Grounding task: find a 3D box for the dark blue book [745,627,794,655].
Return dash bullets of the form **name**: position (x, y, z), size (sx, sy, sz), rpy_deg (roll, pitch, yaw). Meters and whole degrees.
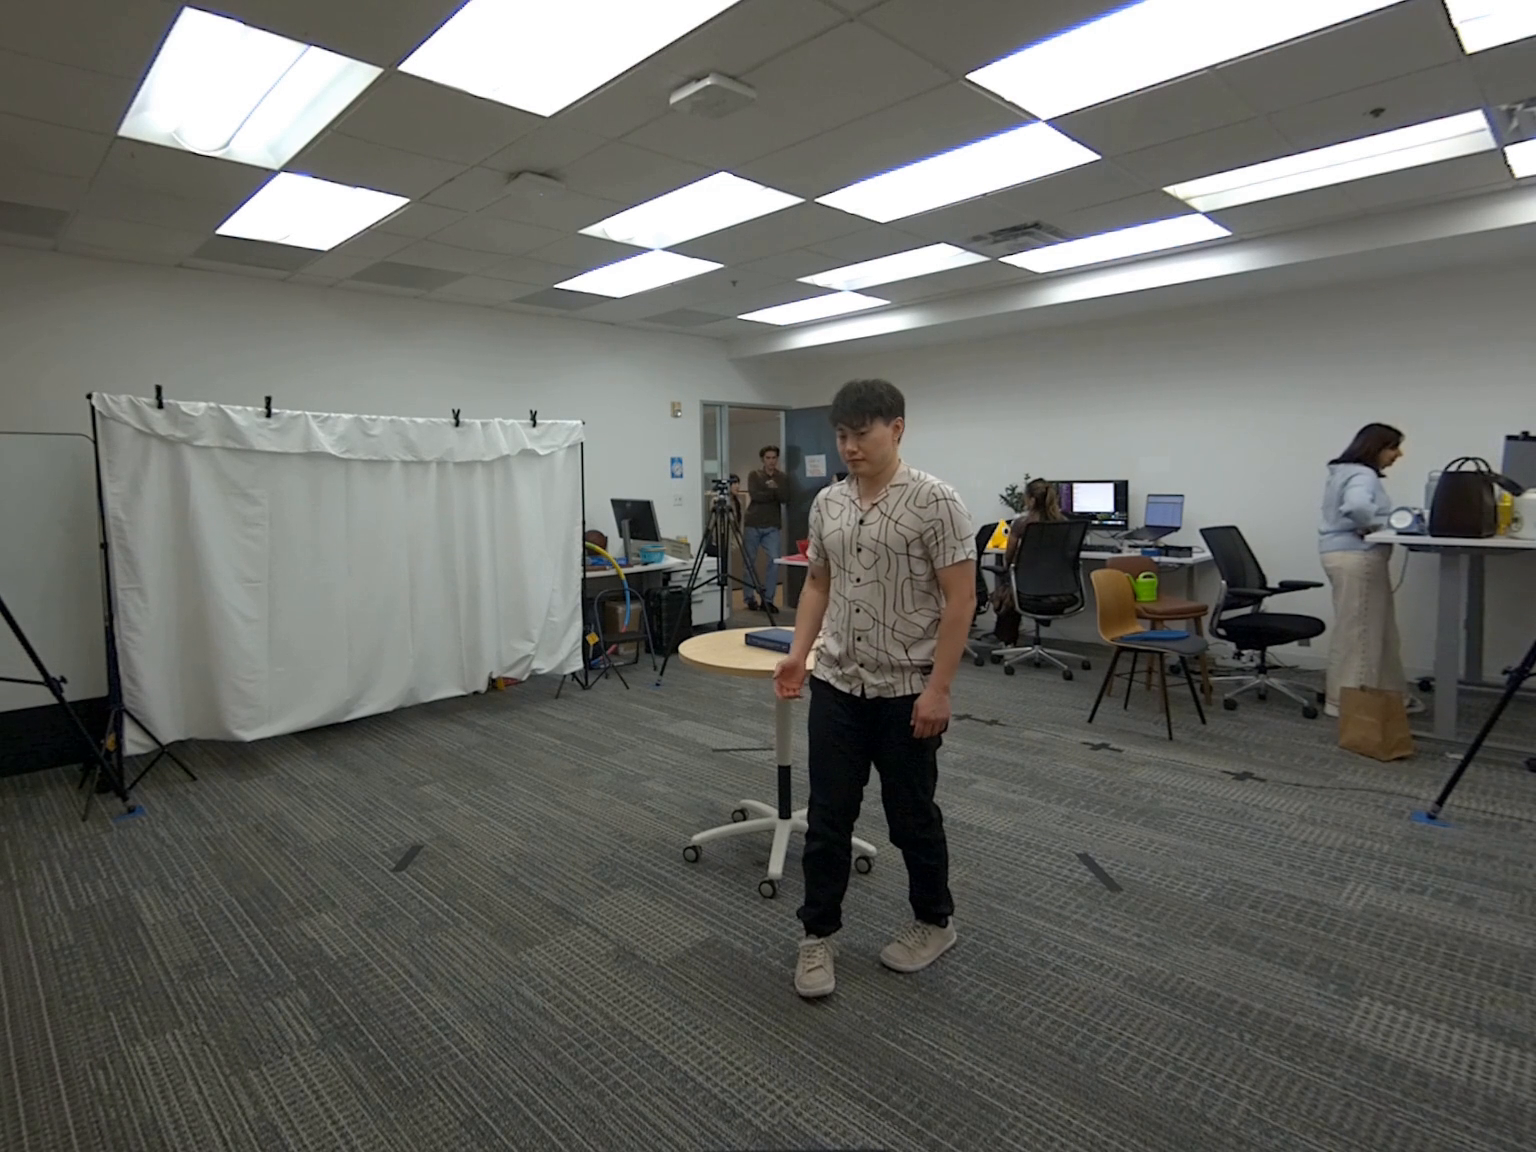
- **dark blue book**: position (0.061, 0.243, 3.137), size (0.159, 0.045, 0.253), rpy_deg (-7, 10, -42)
